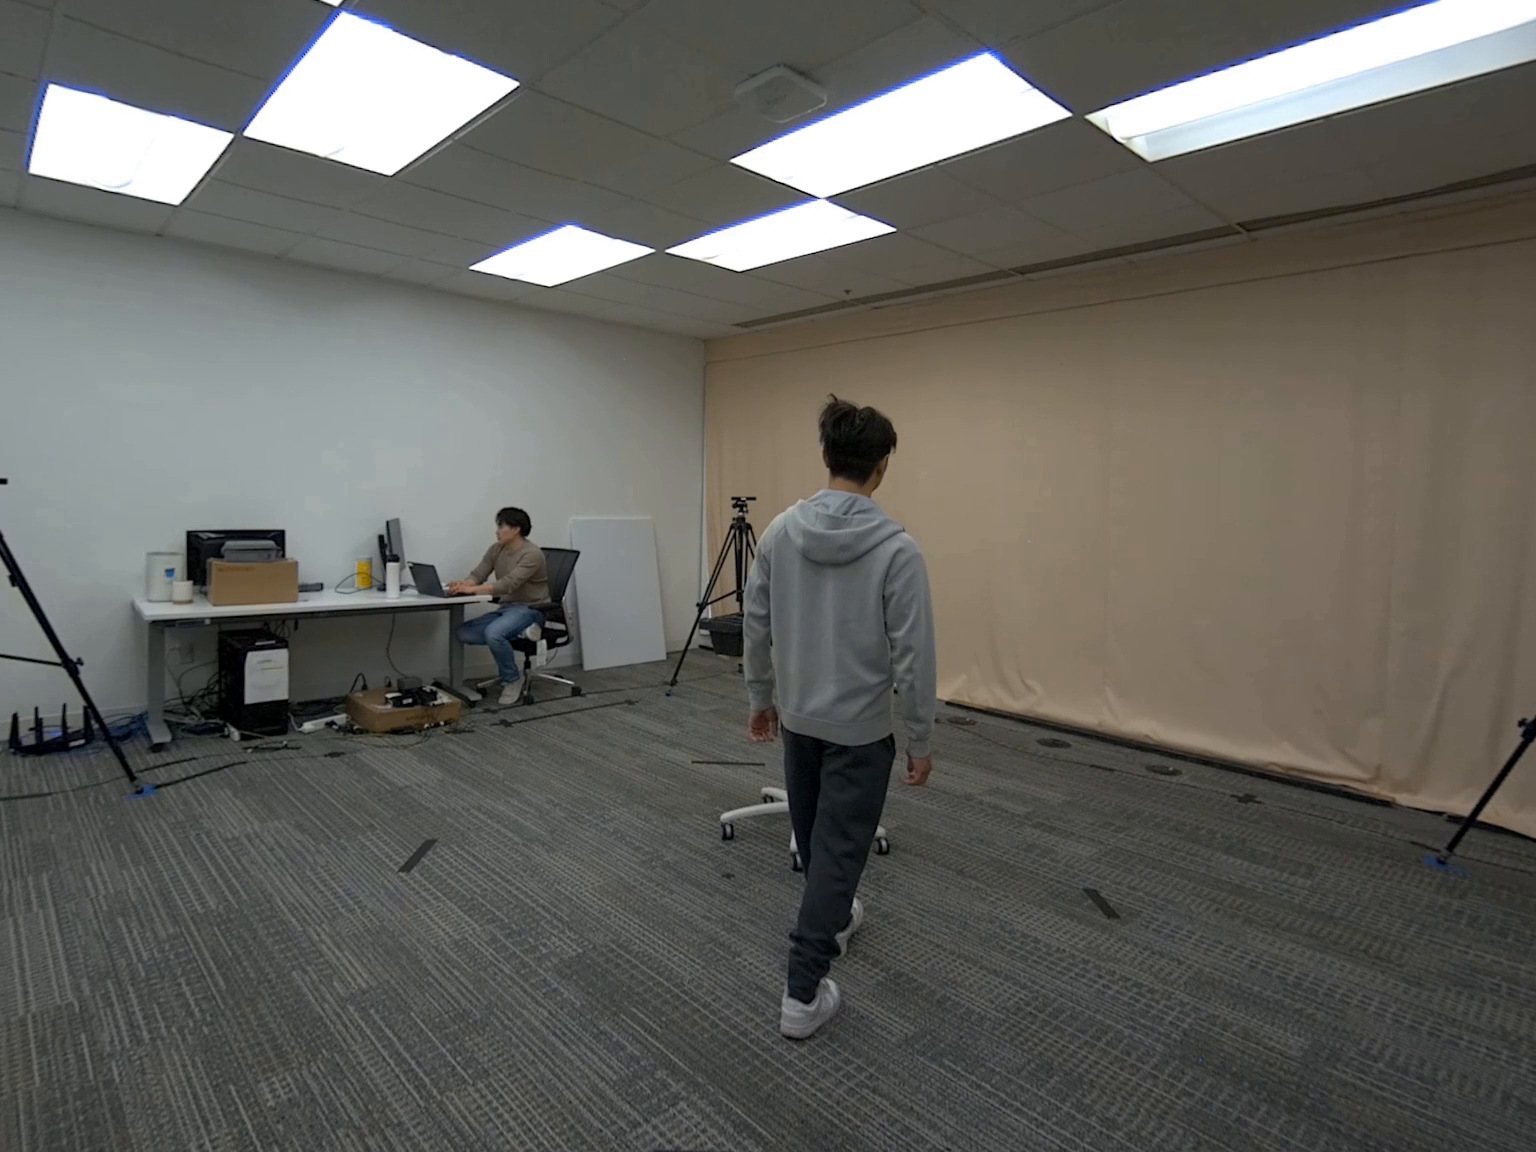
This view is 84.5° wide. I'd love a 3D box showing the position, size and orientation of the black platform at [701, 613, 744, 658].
[{"bbox_3d":[0.175,0.236,3.469,0.618,0.143,0.791,5,6,27],"label":"black platform"}]
